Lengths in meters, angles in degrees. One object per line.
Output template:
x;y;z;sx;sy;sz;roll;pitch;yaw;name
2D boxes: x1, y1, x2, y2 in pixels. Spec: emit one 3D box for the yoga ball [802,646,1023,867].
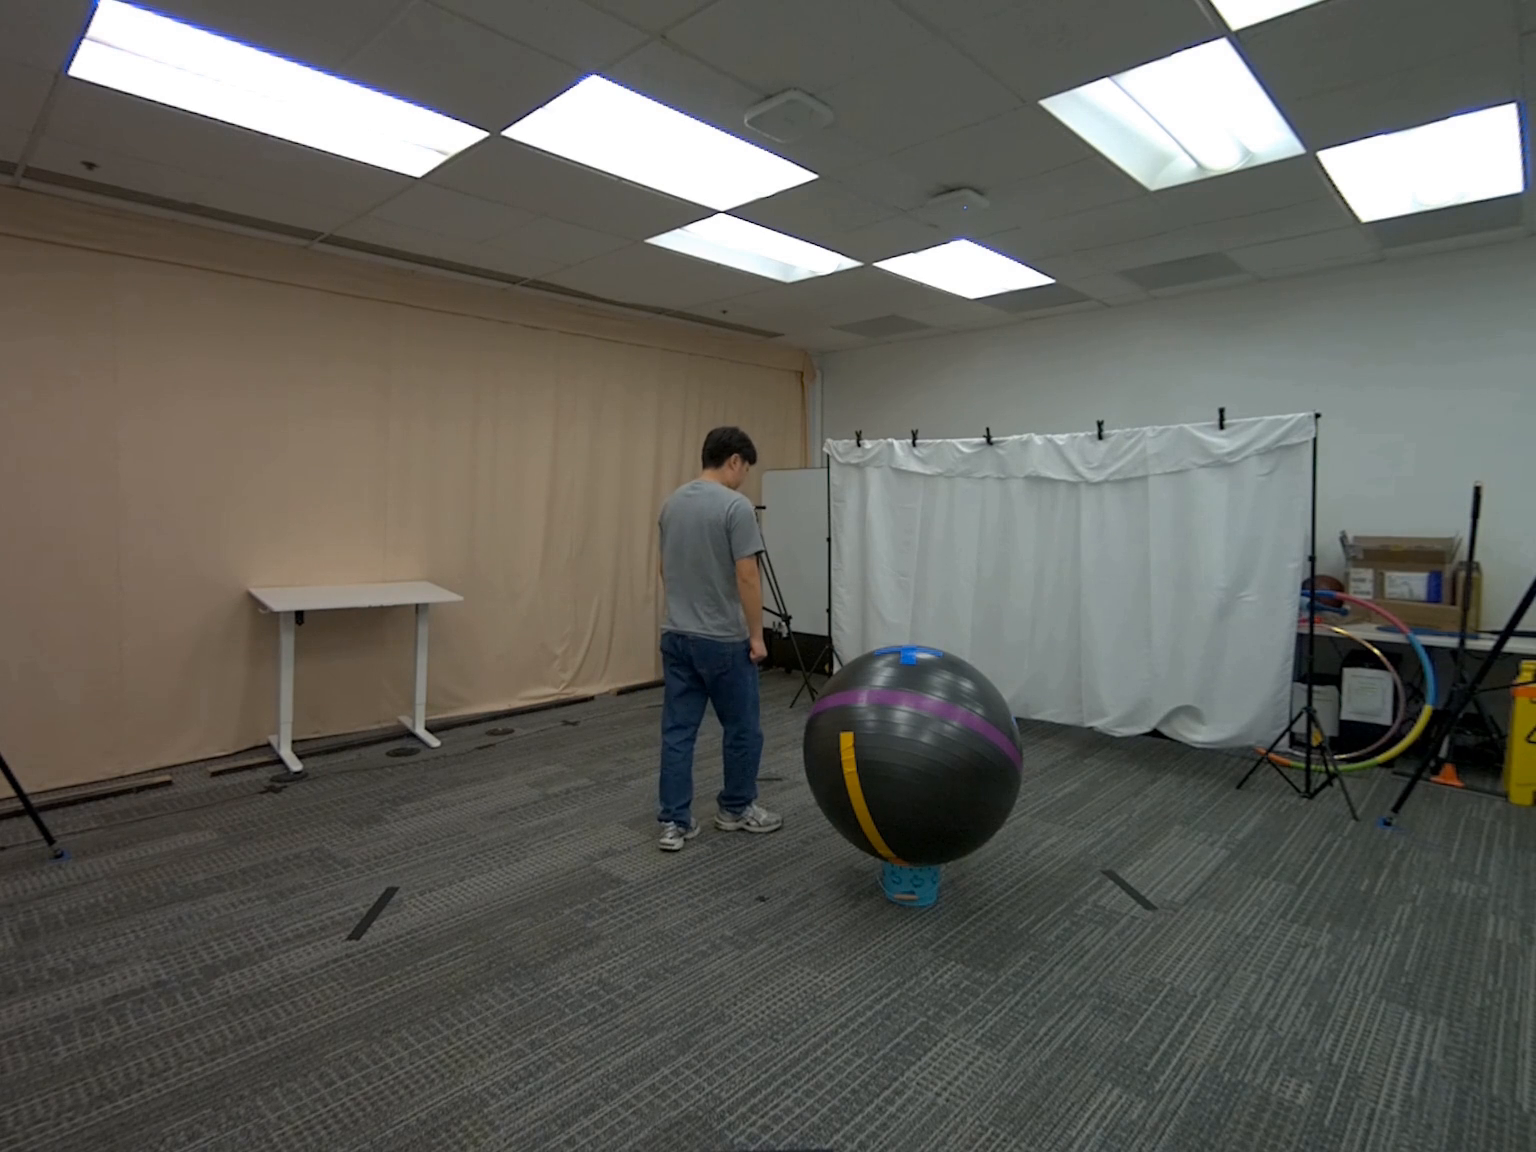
0.512;0.633;2.995;0.757;0.756;0.760;0;4;-2;yoga ball
